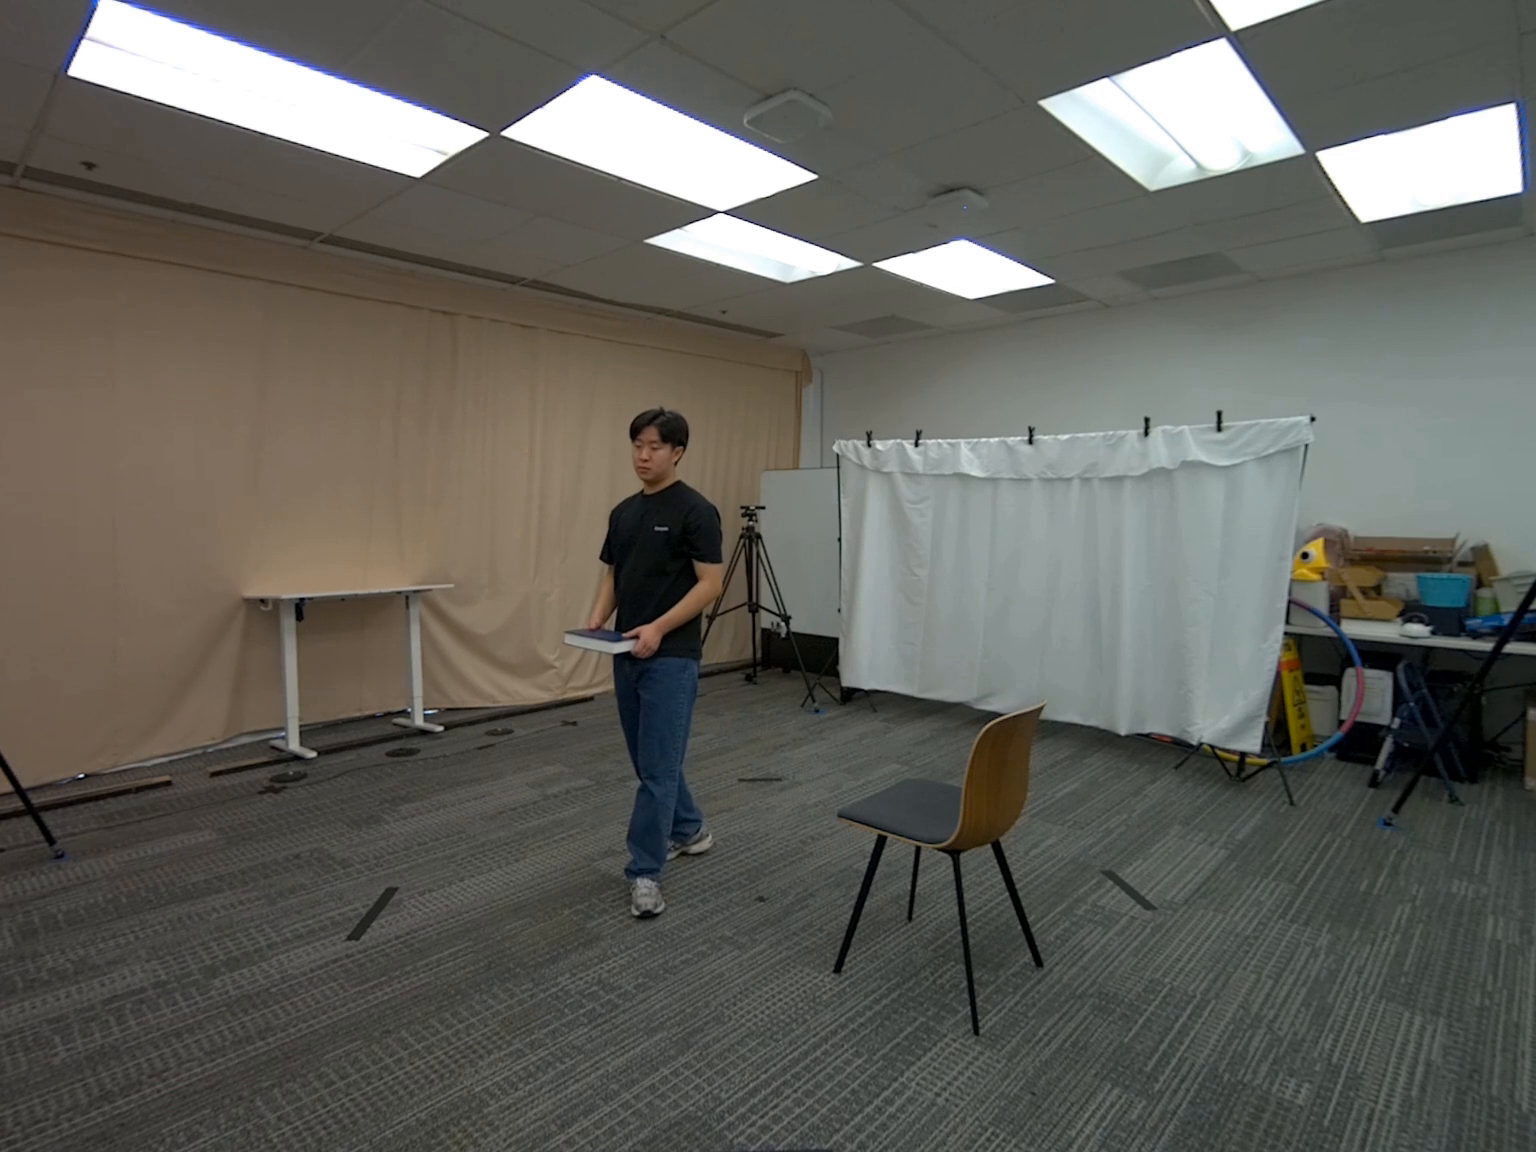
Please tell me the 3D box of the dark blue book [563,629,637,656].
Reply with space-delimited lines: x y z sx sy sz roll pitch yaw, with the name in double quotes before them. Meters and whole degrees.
"dark blue book" -0.576 0.225 2.942 0.253 0.045 0.159 7 7 33
